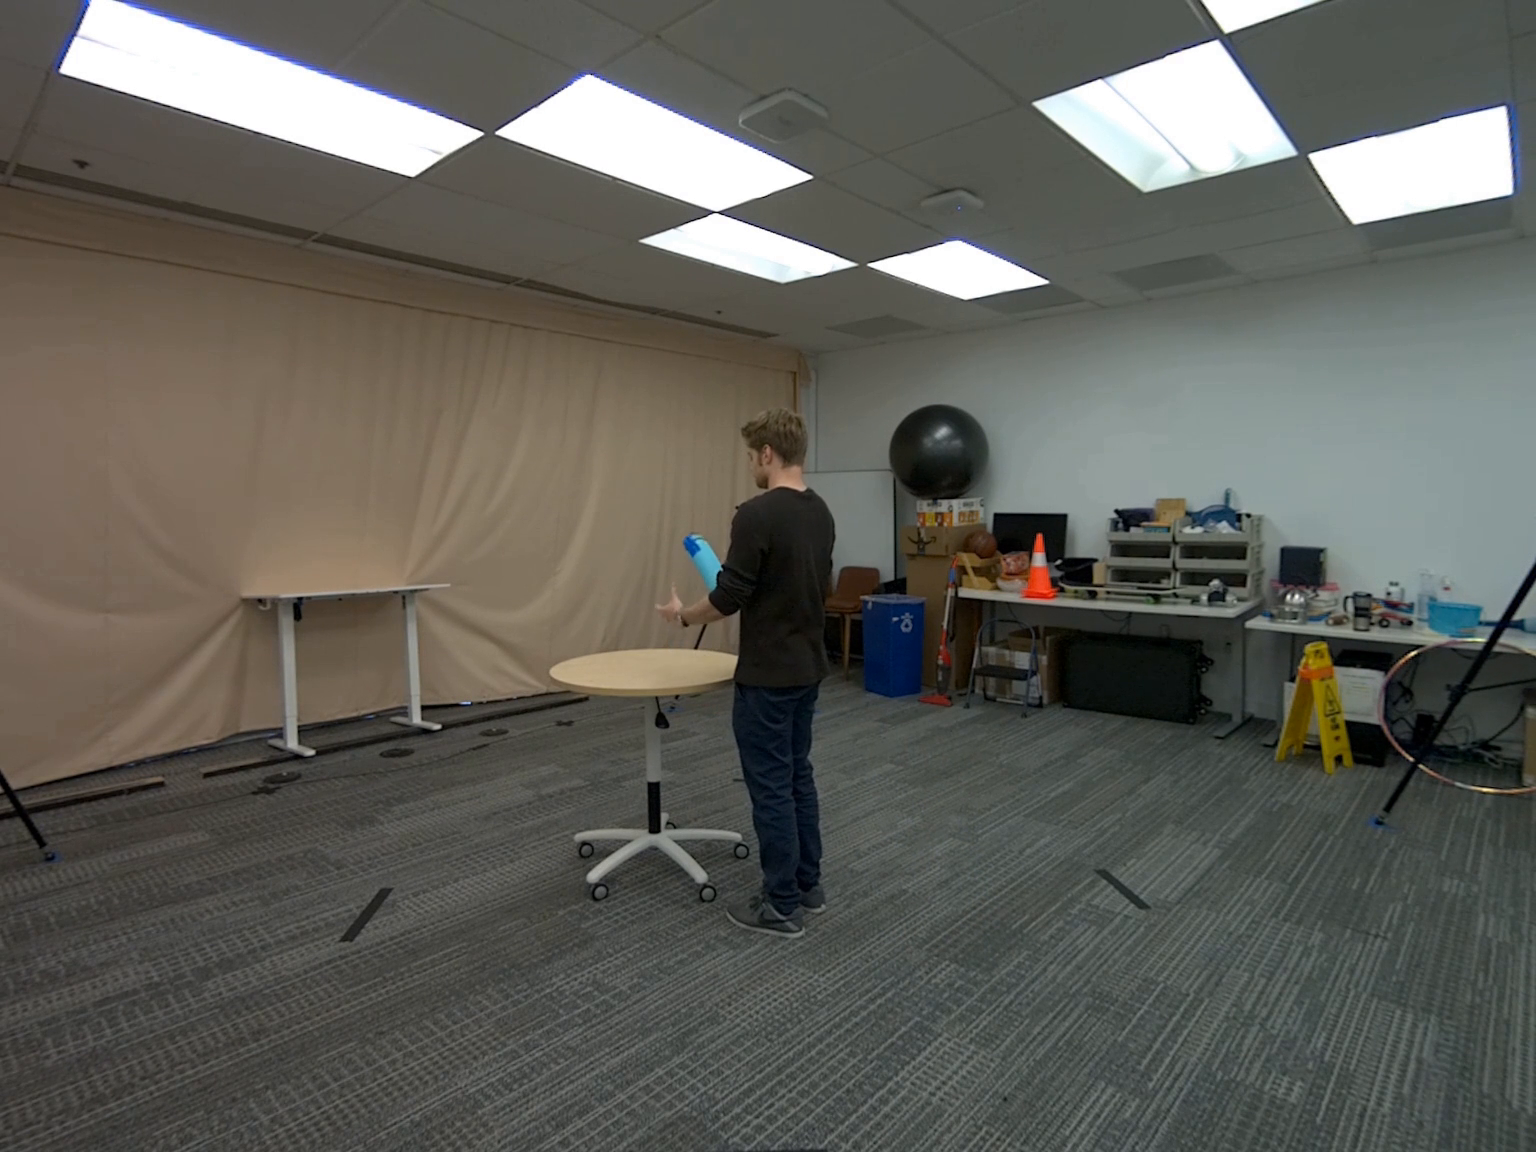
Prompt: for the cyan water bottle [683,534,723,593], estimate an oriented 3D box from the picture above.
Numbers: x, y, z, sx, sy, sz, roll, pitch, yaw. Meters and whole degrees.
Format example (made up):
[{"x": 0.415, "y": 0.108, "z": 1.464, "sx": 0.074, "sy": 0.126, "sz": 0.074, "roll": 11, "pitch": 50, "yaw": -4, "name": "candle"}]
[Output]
[{"x": -0.220, "y": -0.017, "z": 3.135, "sx": 0.089, "sy": 0.092, "sz": 0.292, "roll": -3, "pitch": 48, "yaw": -39, "name": "cyan water bottle"}]
